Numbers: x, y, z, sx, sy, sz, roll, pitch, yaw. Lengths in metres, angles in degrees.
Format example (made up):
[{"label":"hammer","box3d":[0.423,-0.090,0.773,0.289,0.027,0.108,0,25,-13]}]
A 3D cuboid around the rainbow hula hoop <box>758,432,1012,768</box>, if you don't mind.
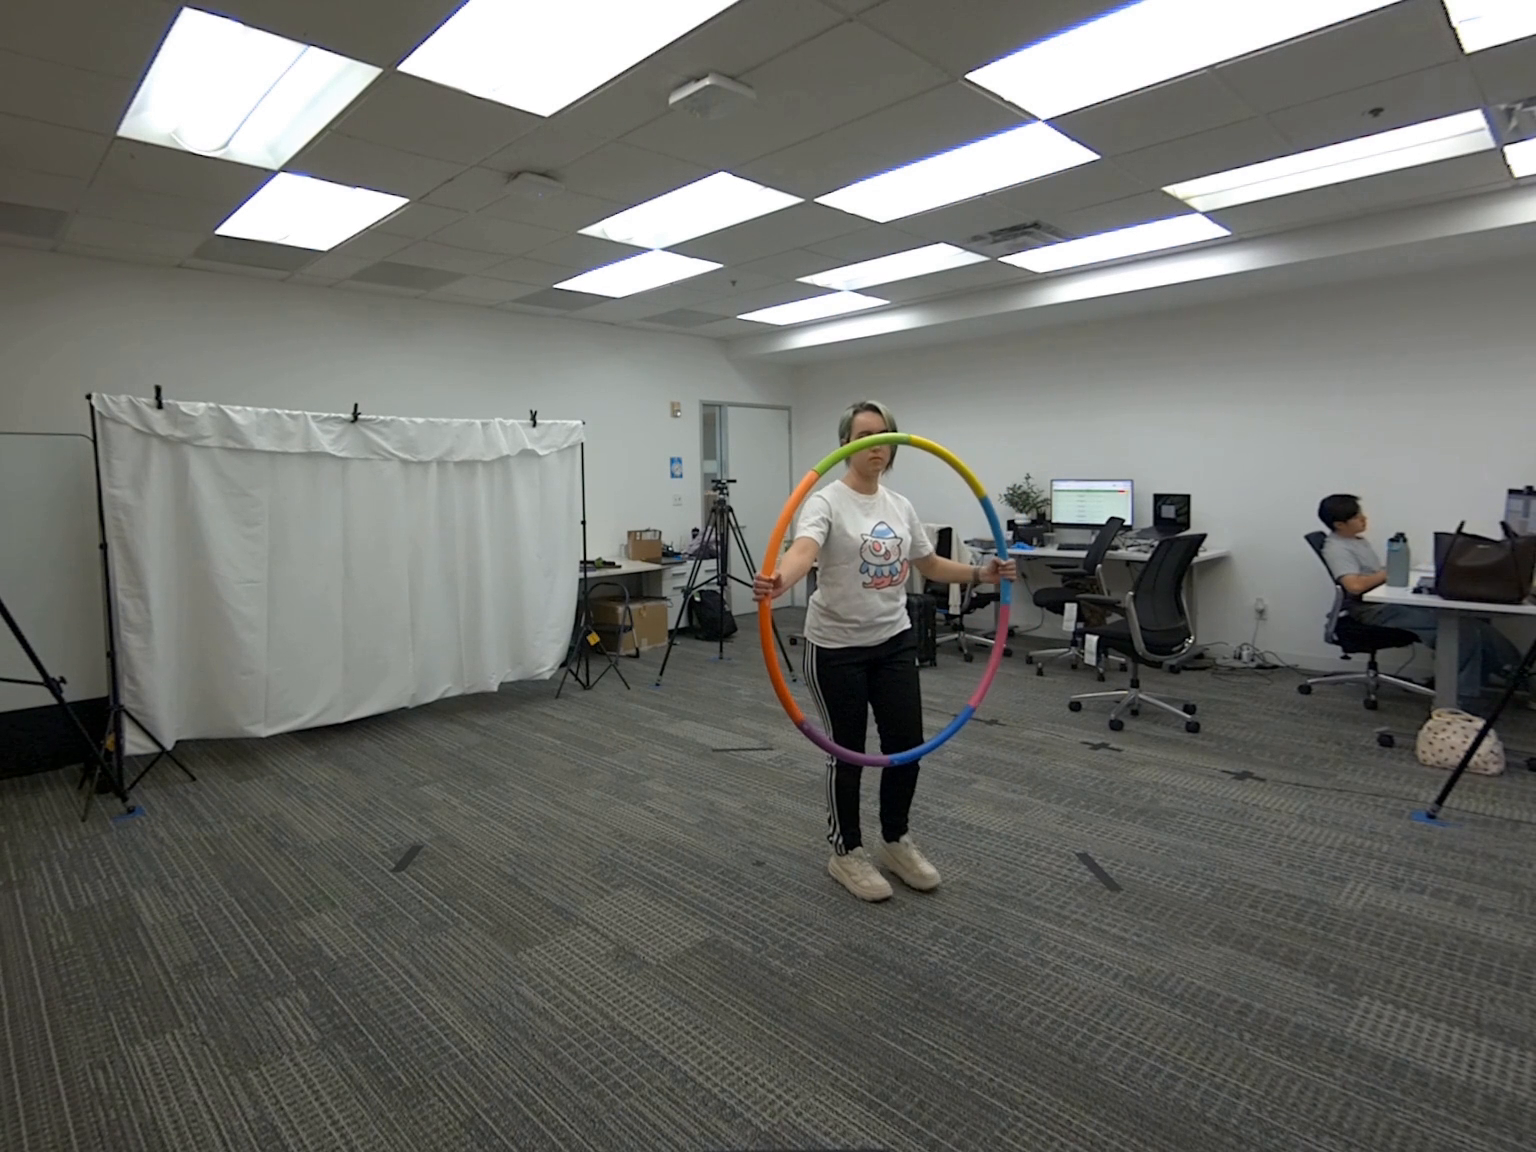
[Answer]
[{"label":"rainbow hula hoop","box3d":[0.383,0.074,2.538,0.955,0.976,0.036,-4,3,-31]}]
